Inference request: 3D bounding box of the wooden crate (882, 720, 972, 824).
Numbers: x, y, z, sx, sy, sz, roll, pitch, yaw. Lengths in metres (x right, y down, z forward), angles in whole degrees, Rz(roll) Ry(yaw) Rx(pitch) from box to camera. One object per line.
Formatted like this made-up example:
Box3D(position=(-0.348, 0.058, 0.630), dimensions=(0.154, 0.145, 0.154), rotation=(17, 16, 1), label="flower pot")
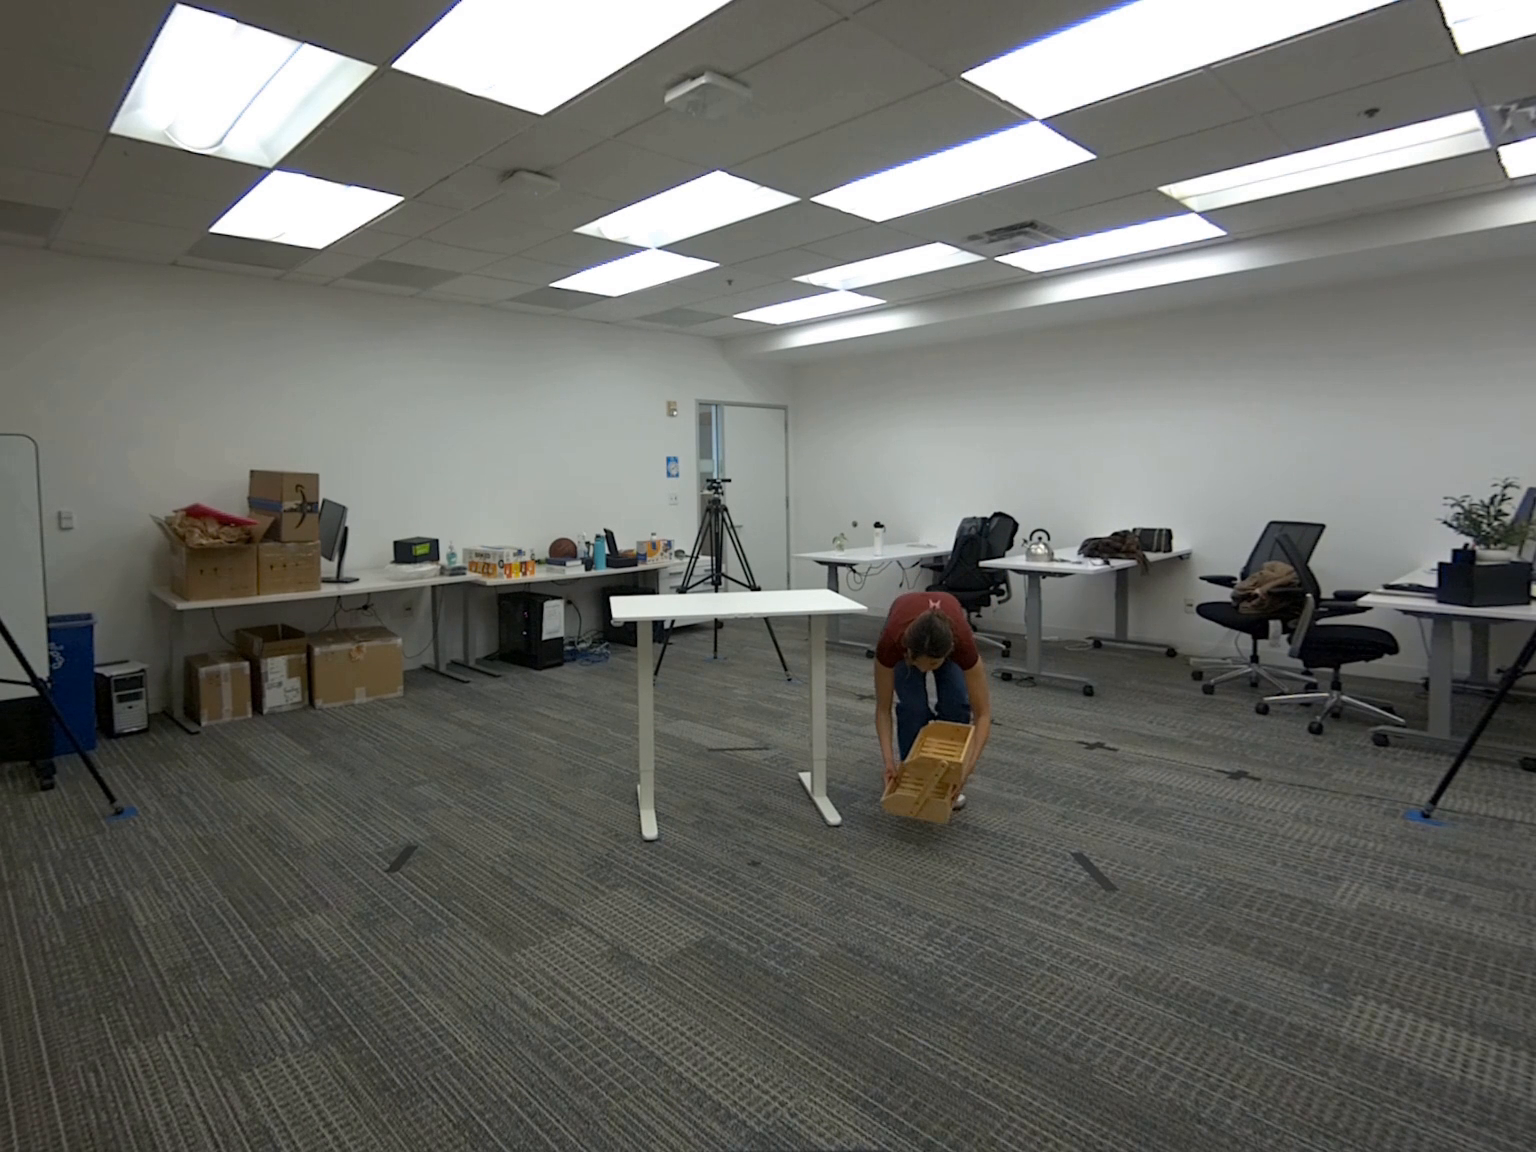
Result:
Box3D(position=(0.616, 0.741, 3.279), dimensions=(0.309, 0.270, 0.322), rotation=(3, 16, 22), label="wooden crate")
